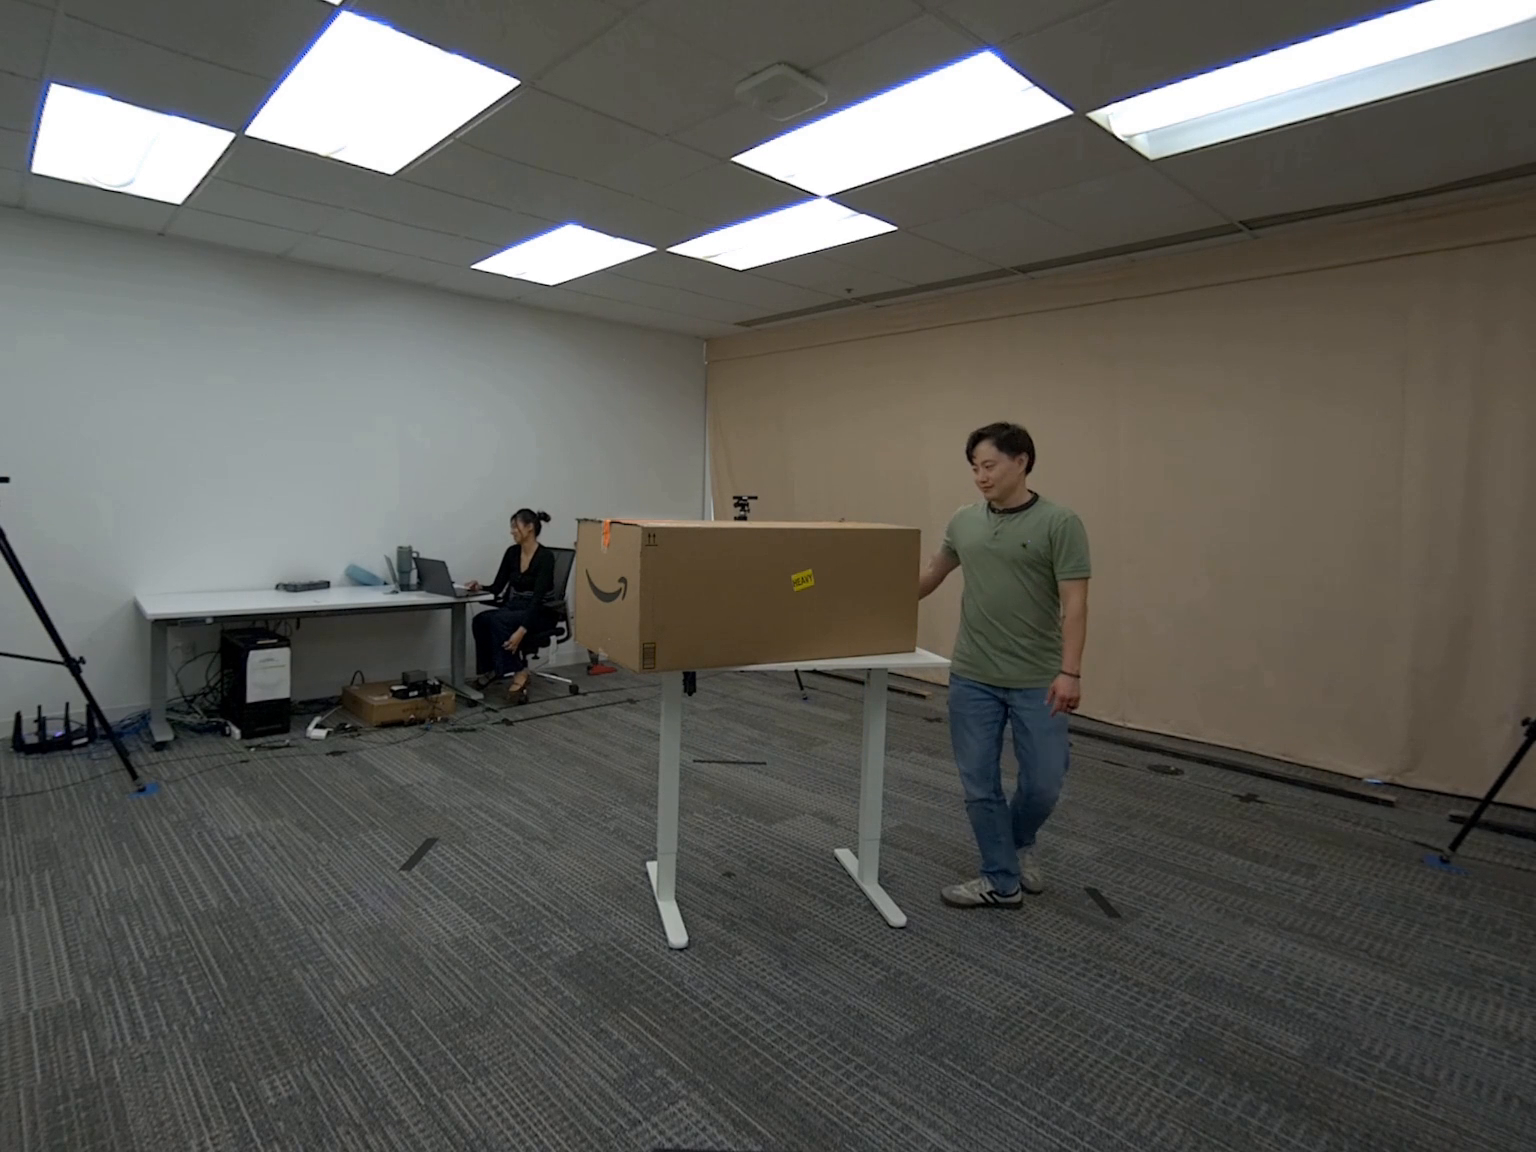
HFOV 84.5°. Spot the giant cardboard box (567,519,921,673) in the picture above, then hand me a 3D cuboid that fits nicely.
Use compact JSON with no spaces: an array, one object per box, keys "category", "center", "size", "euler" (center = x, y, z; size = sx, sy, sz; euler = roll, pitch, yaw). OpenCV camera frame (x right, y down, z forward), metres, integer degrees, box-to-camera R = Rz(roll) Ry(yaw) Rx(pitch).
[{"category":"giant cardboard box","center":[-0.079,0.031,2.860],"size":[1.005,0.425,0.591],"euler":[-1,6,-30]}]
